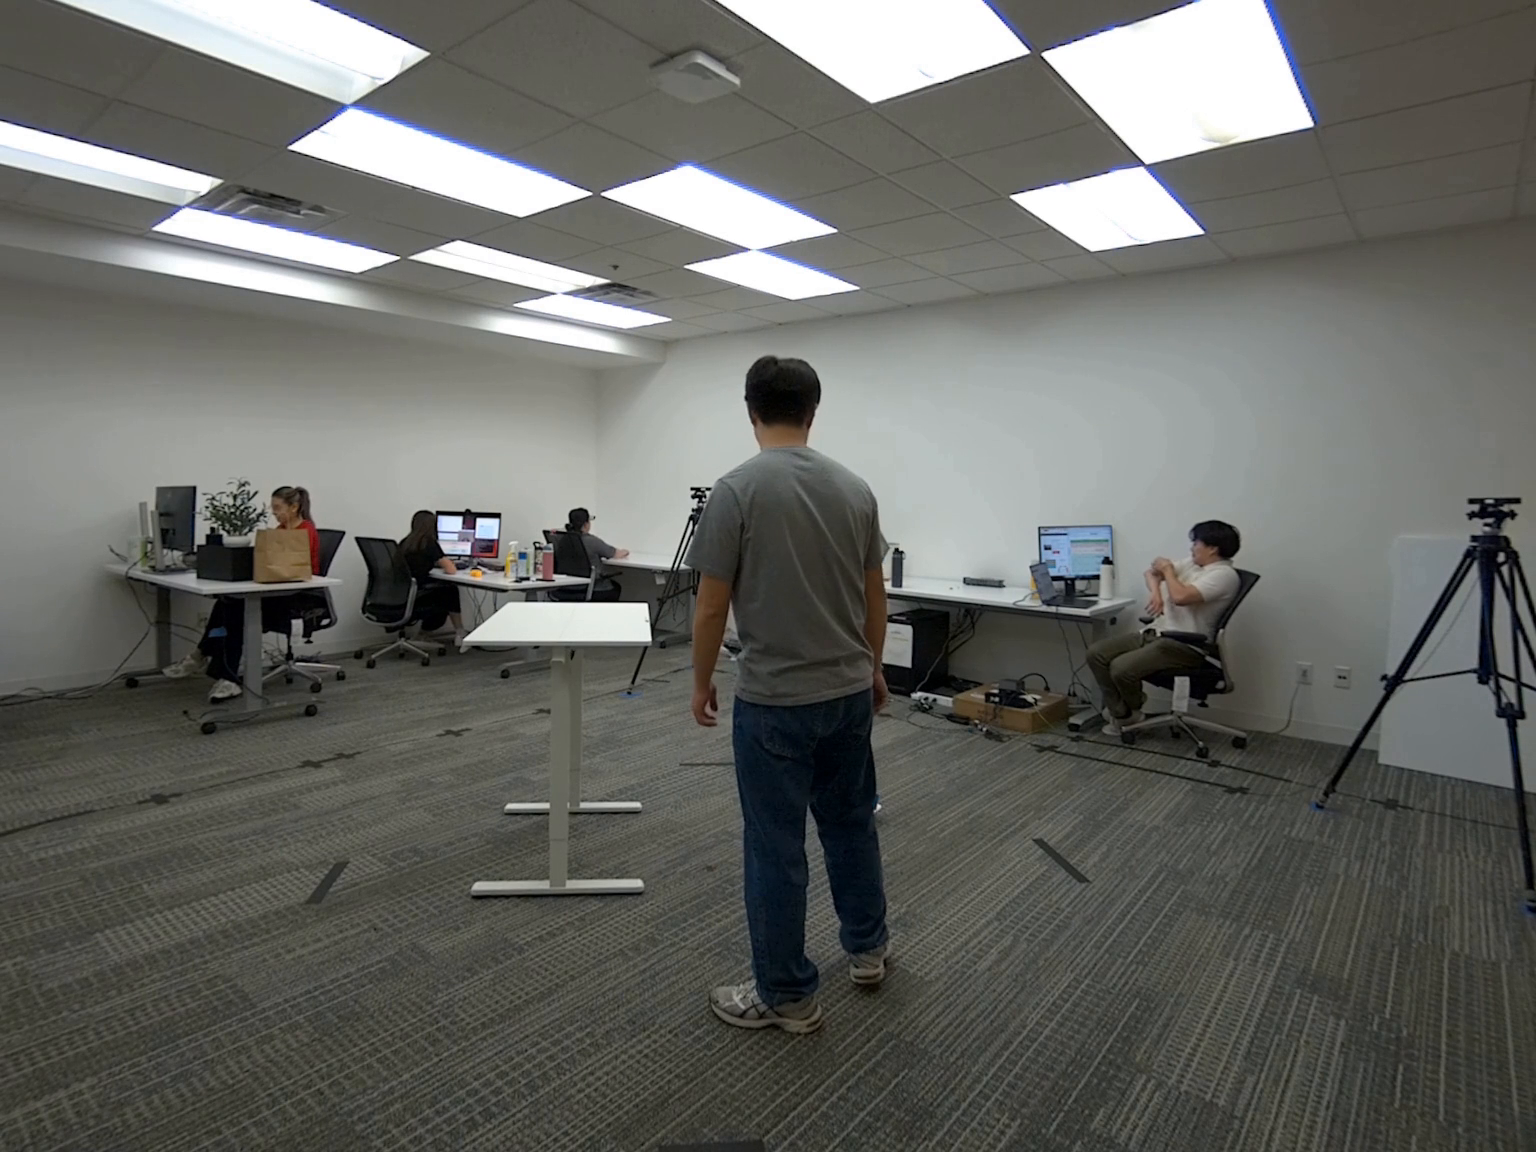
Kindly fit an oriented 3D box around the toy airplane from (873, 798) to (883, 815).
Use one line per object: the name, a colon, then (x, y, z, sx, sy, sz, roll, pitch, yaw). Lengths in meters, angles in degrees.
toy airplane: (0.348, 0.942, 3.651, 0.261, 0.156, 0.250, 0, 5, 5)
